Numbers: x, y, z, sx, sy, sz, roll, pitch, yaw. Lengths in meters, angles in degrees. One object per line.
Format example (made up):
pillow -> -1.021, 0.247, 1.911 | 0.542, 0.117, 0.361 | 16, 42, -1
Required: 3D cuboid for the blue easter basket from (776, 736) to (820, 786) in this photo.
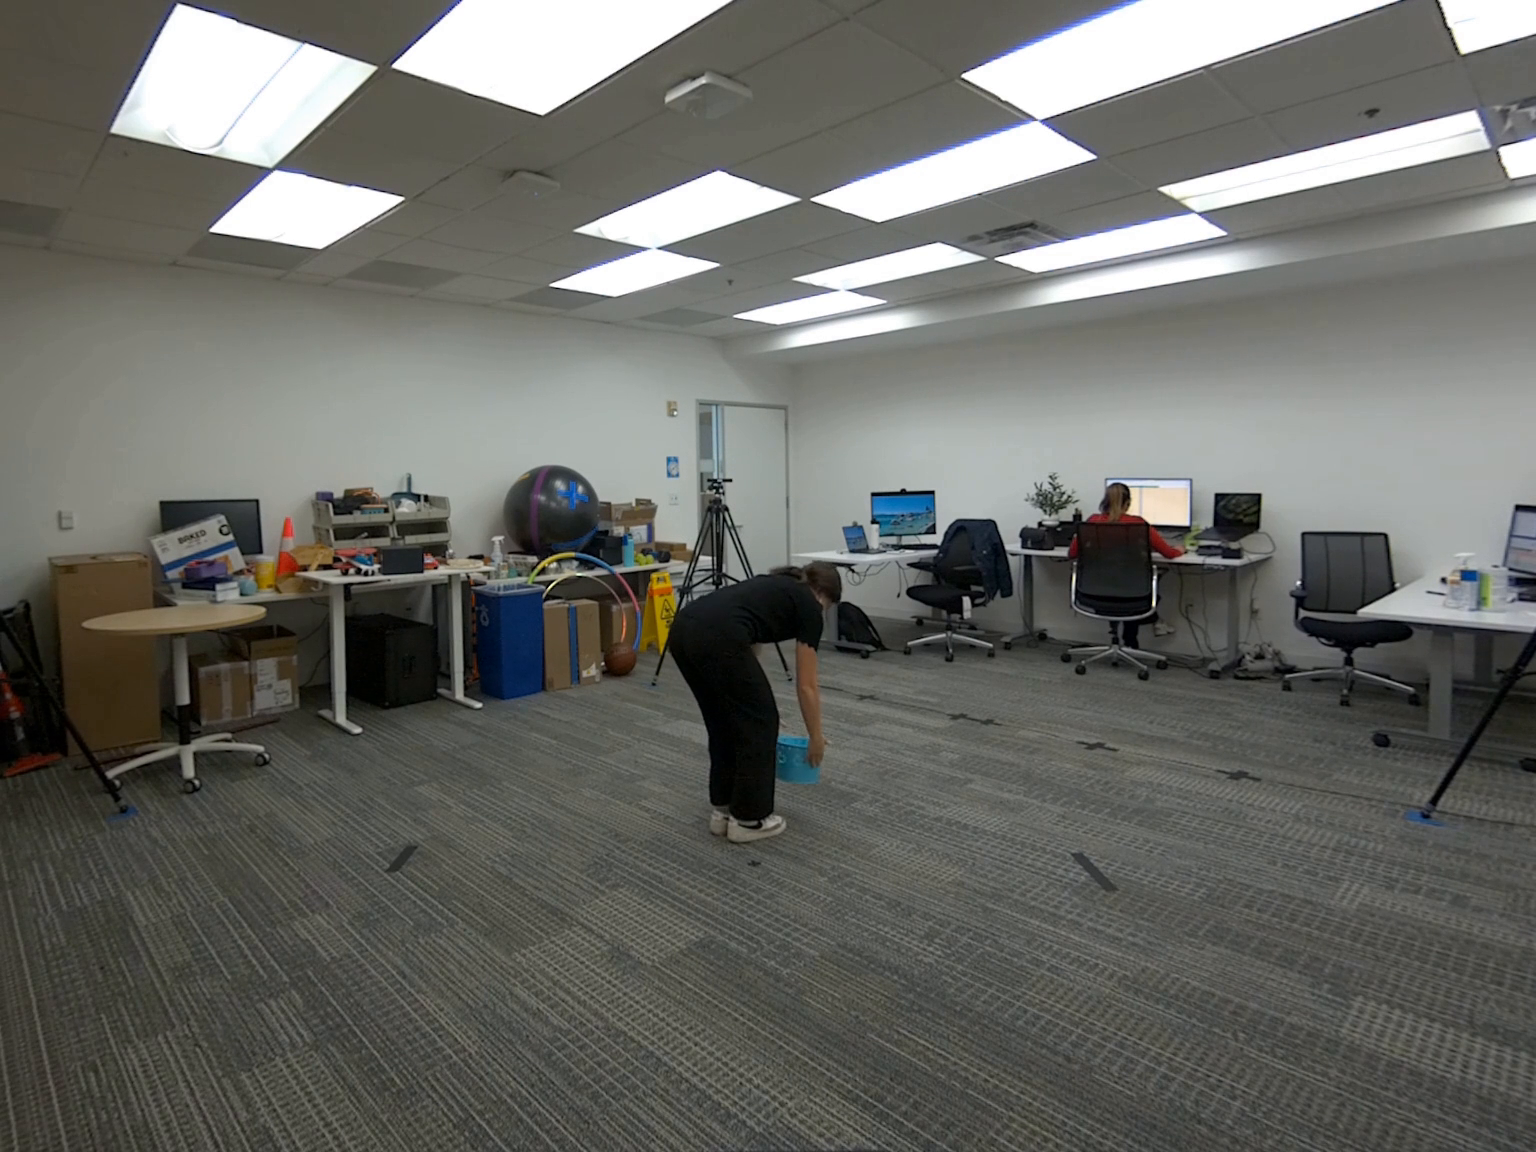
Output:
blue easter basket -> 0.127, 0.752, 3.559 | 0.243, 0.156, 0.244 | 5, 2, -2
